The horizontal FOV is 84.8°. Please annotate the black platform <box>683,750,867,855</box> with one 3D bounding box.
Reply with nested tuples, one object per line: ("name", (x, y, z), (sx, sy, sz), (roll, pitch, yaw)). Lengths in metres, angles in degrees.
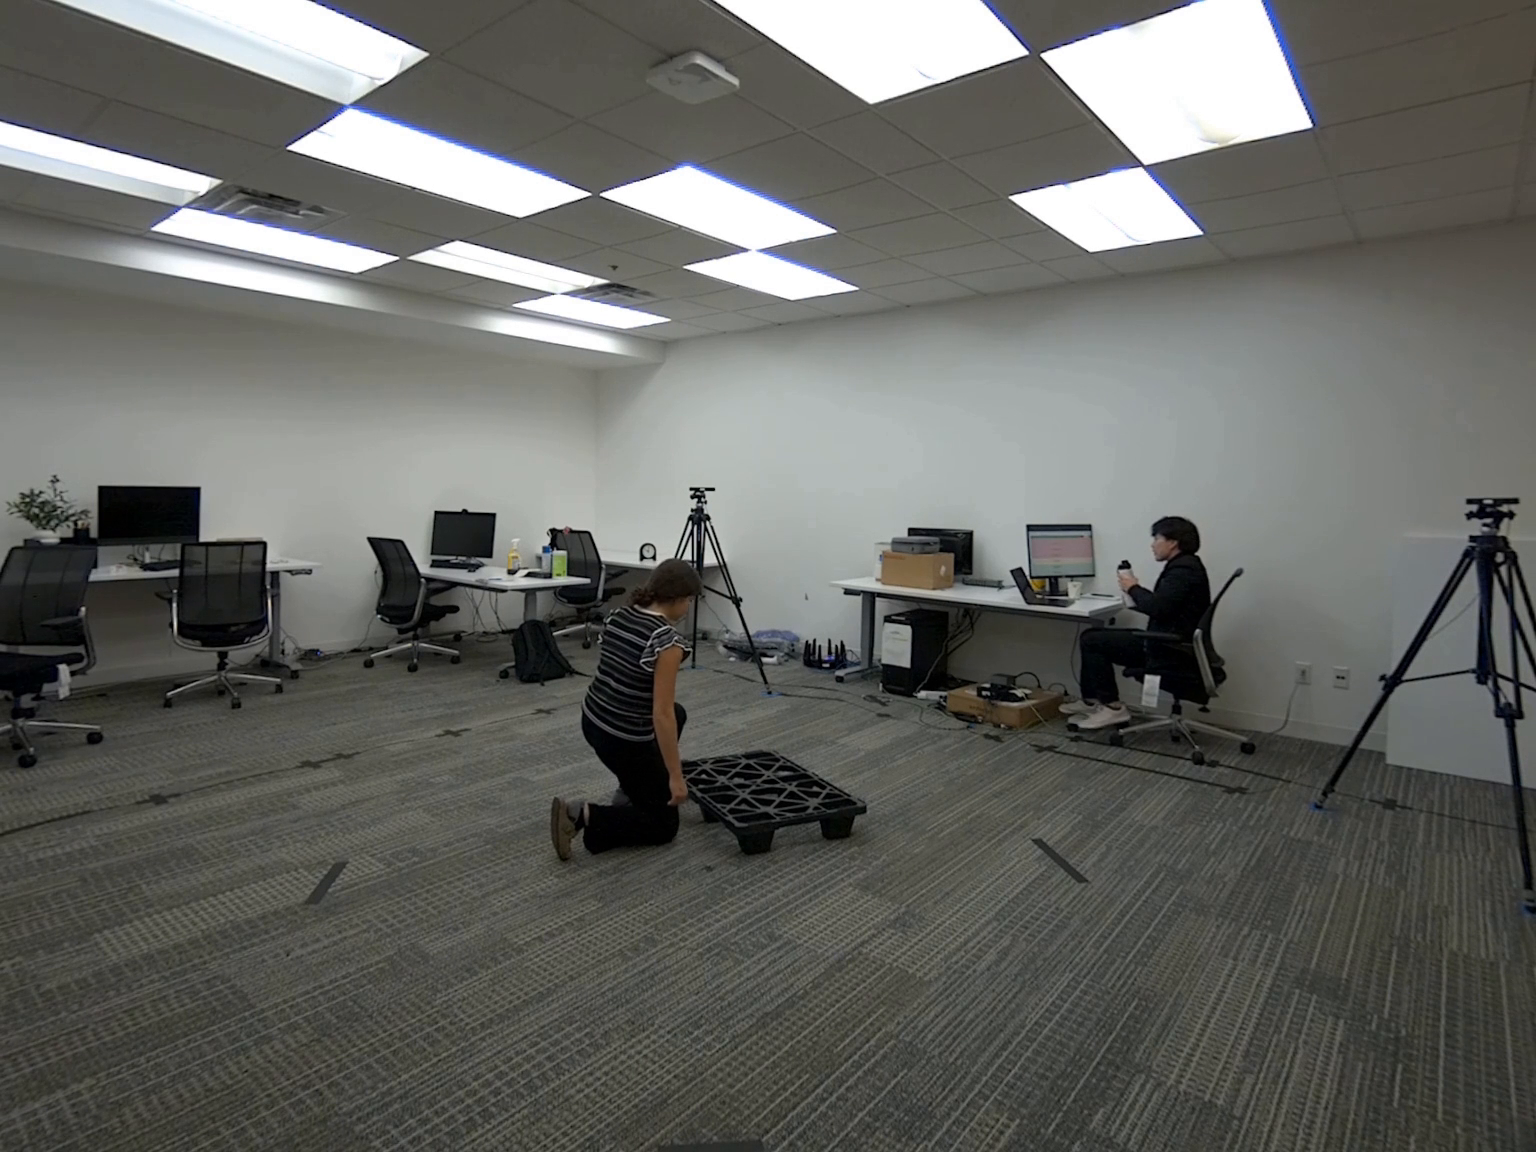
("black platform", (-0.061, 0.949, 3.654), (0.590, 0.143, 0.829), (-1, 6, -27))
